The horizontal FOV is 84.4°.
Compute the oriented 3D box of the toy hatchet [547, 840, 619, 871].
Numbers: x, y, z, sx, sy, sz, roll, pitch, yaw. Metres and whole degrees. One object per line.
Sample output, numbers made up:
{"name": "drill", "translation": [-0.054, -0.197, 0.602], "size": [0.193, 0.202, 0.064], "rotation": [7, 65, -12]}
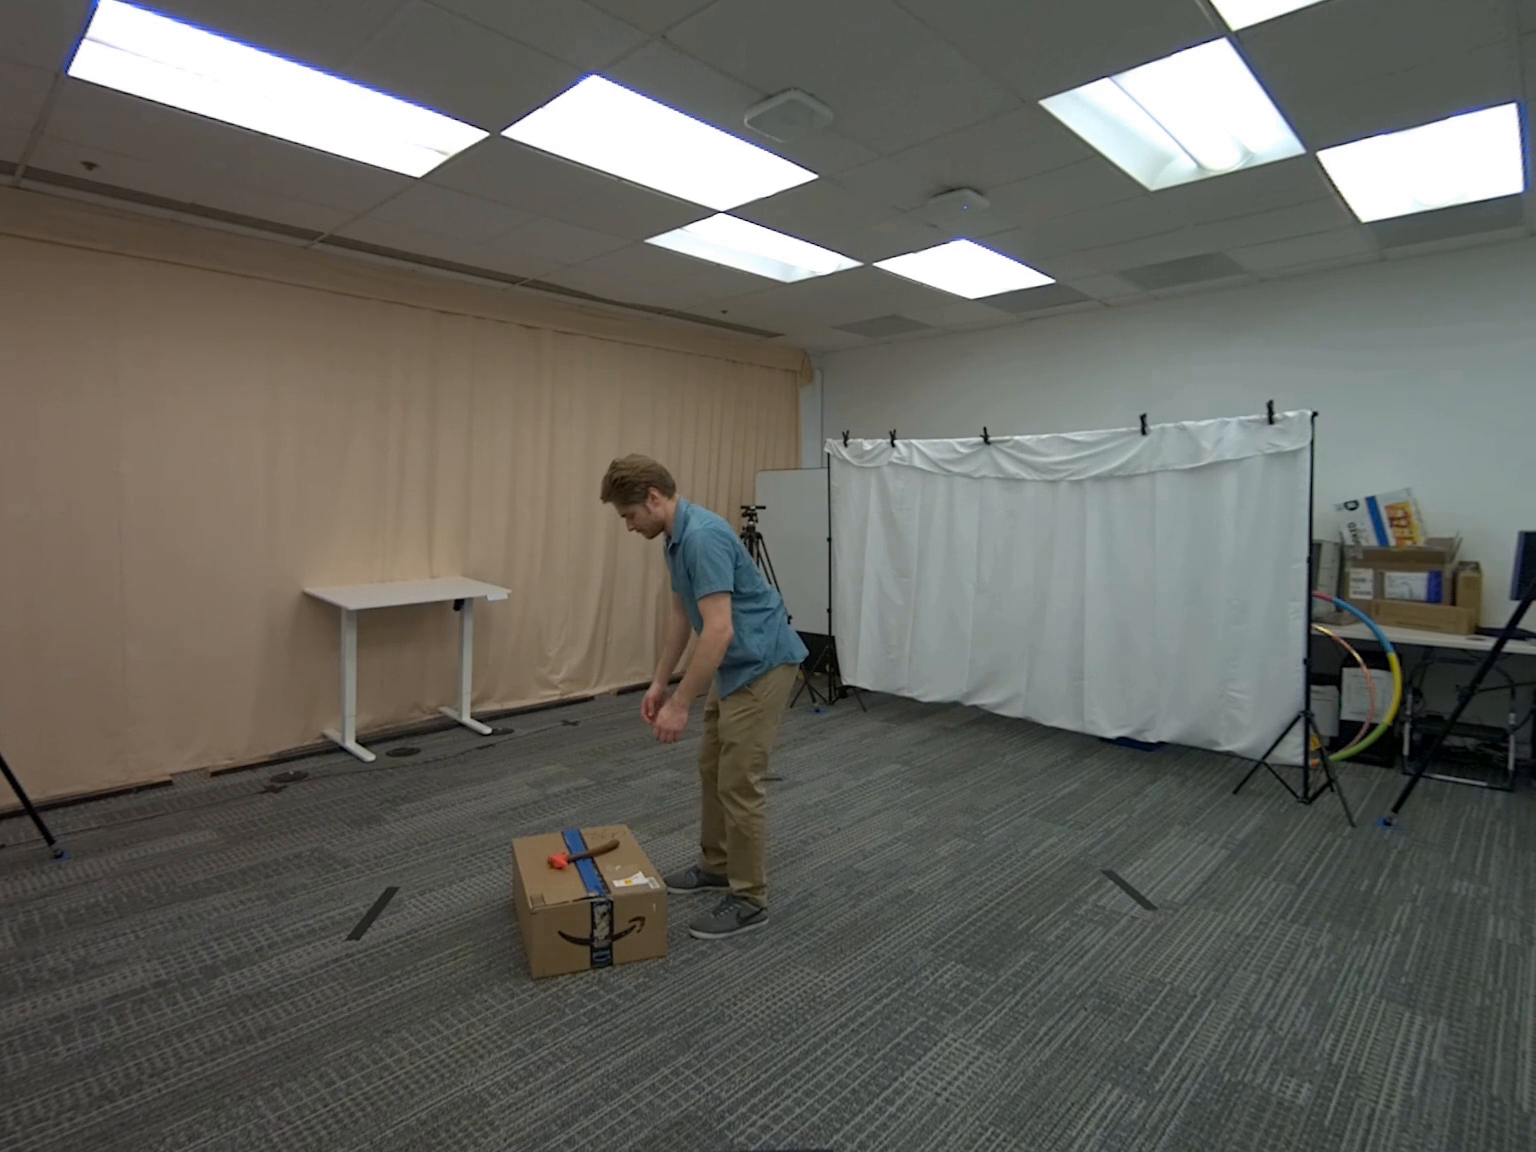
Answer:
{"name": "toy hatchet", "translation": [-0.637, 0.933, 2.844], "size": [0.135, 0.029, 0.262], "rotation": [-2, 2, 34]}
